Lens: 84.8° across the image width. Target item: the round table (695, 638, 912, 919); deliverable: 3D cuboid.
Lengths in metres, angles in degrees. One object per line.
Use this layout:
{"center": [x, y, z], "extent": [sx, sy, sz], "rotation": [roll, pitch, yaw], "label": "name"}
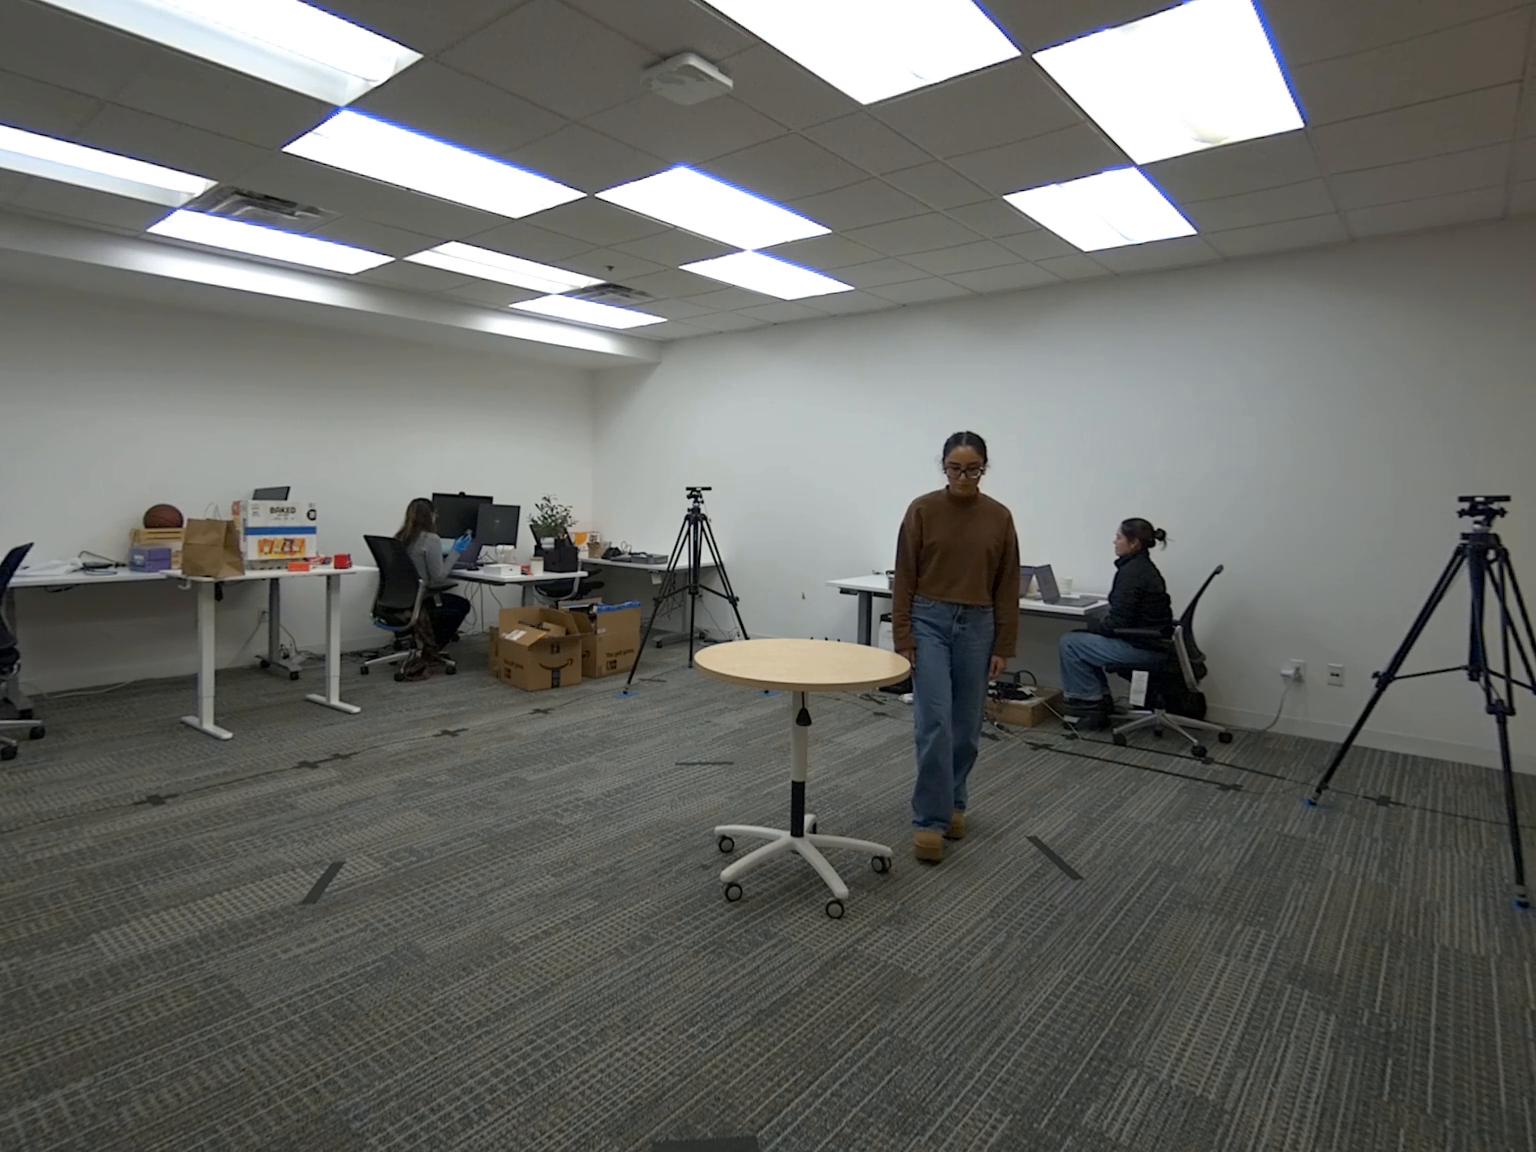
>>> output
{"center": [0.098, 0.686, 3.061], "extent": [0.763, 0.791, 0.768], "rotation": [1, 4, -2], "label": "round table"}
